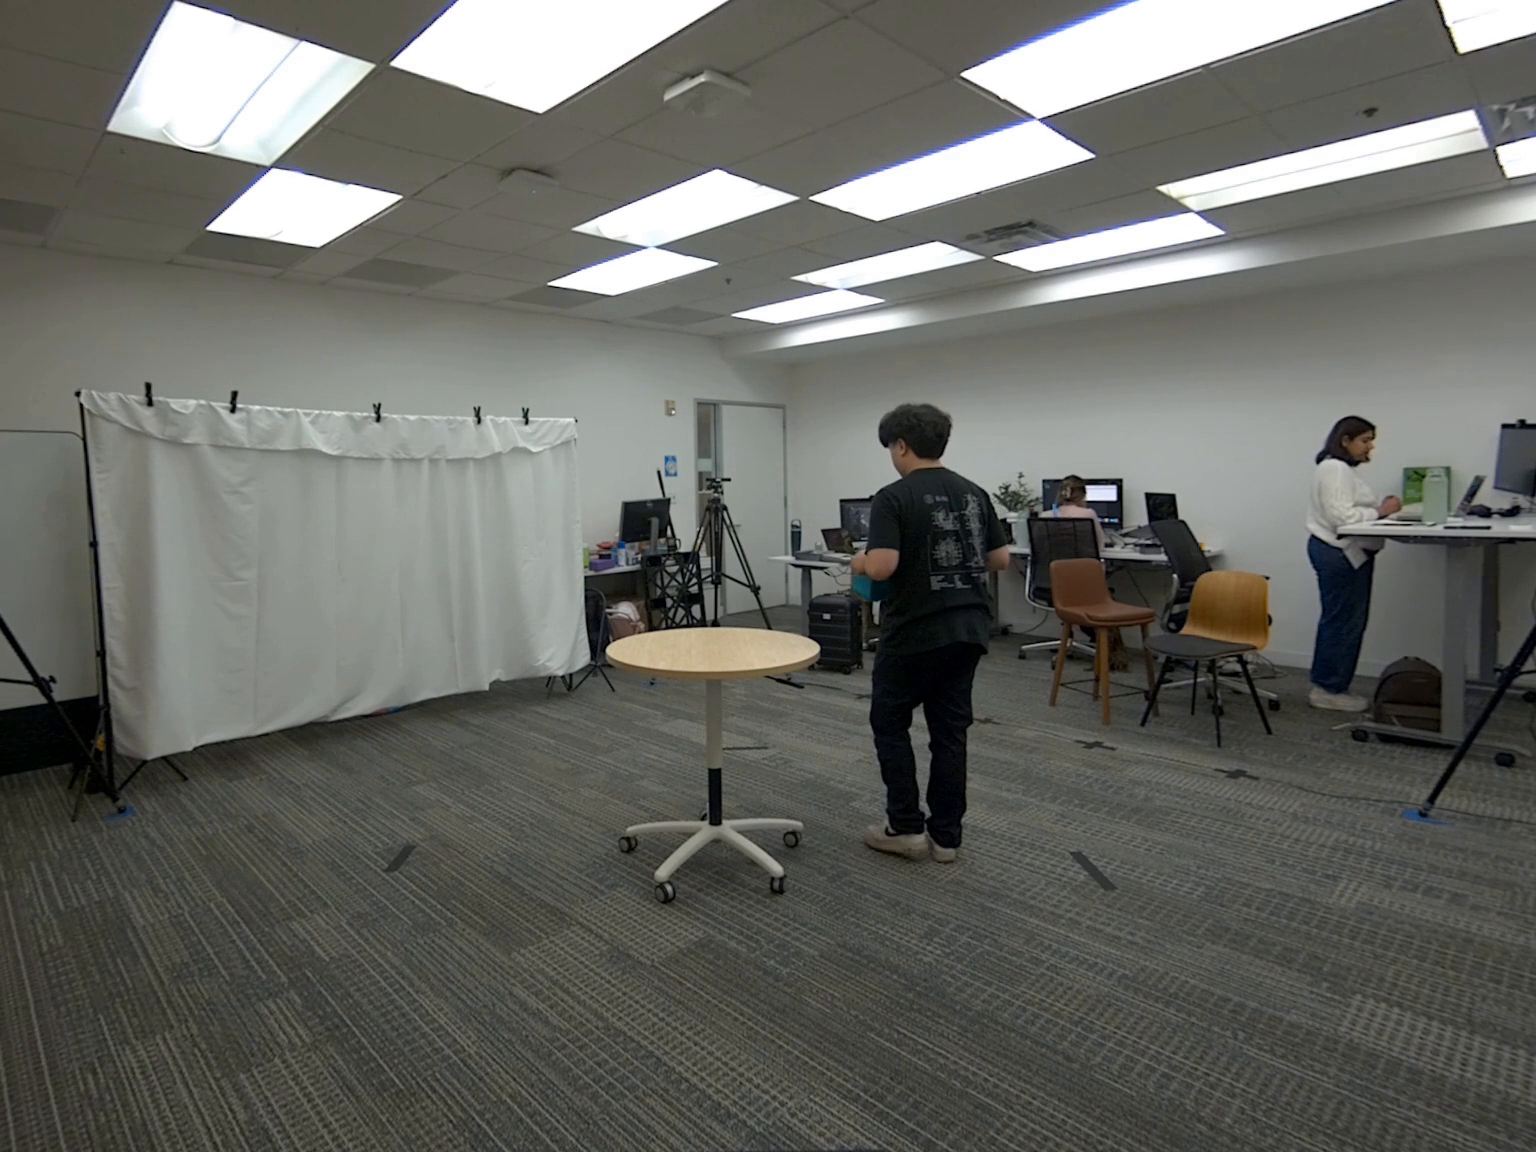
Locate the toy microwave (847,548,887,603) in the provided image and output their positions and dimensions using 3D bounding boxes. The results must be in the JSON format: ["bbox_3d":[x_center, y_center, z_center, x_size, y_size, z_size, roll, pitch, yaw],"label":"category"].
[{"bbox_3d":[0.482,-0.007,3.370,0.280,0.183,0.157,0,11,-25],"label":"toy microwave"}]
